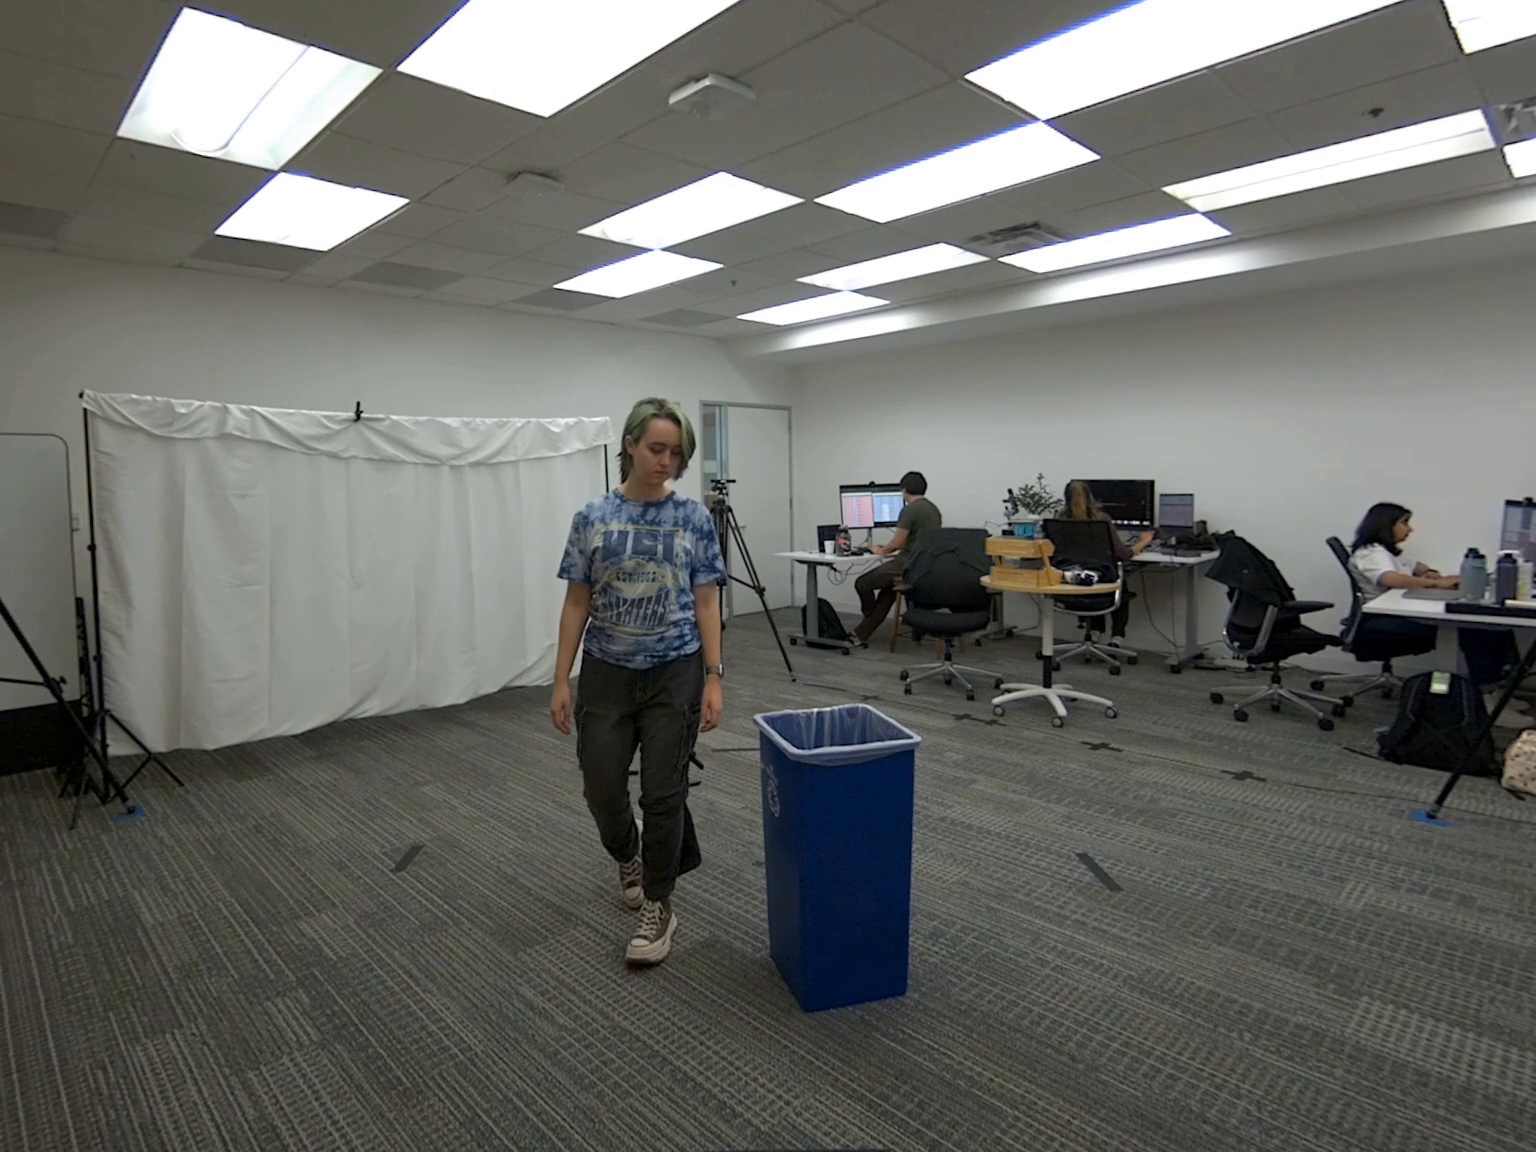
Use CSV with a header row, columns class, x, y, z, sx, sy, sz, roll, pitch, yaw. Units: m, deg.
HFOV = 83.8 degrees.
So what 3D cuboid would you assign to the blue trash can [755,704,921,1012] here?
class,x,y,z,sx,sy,sz,roll,pitch,yaw
blue trash can,0.192,0.771,2.379,0.373,0.710,0.381,-3,5,-16
